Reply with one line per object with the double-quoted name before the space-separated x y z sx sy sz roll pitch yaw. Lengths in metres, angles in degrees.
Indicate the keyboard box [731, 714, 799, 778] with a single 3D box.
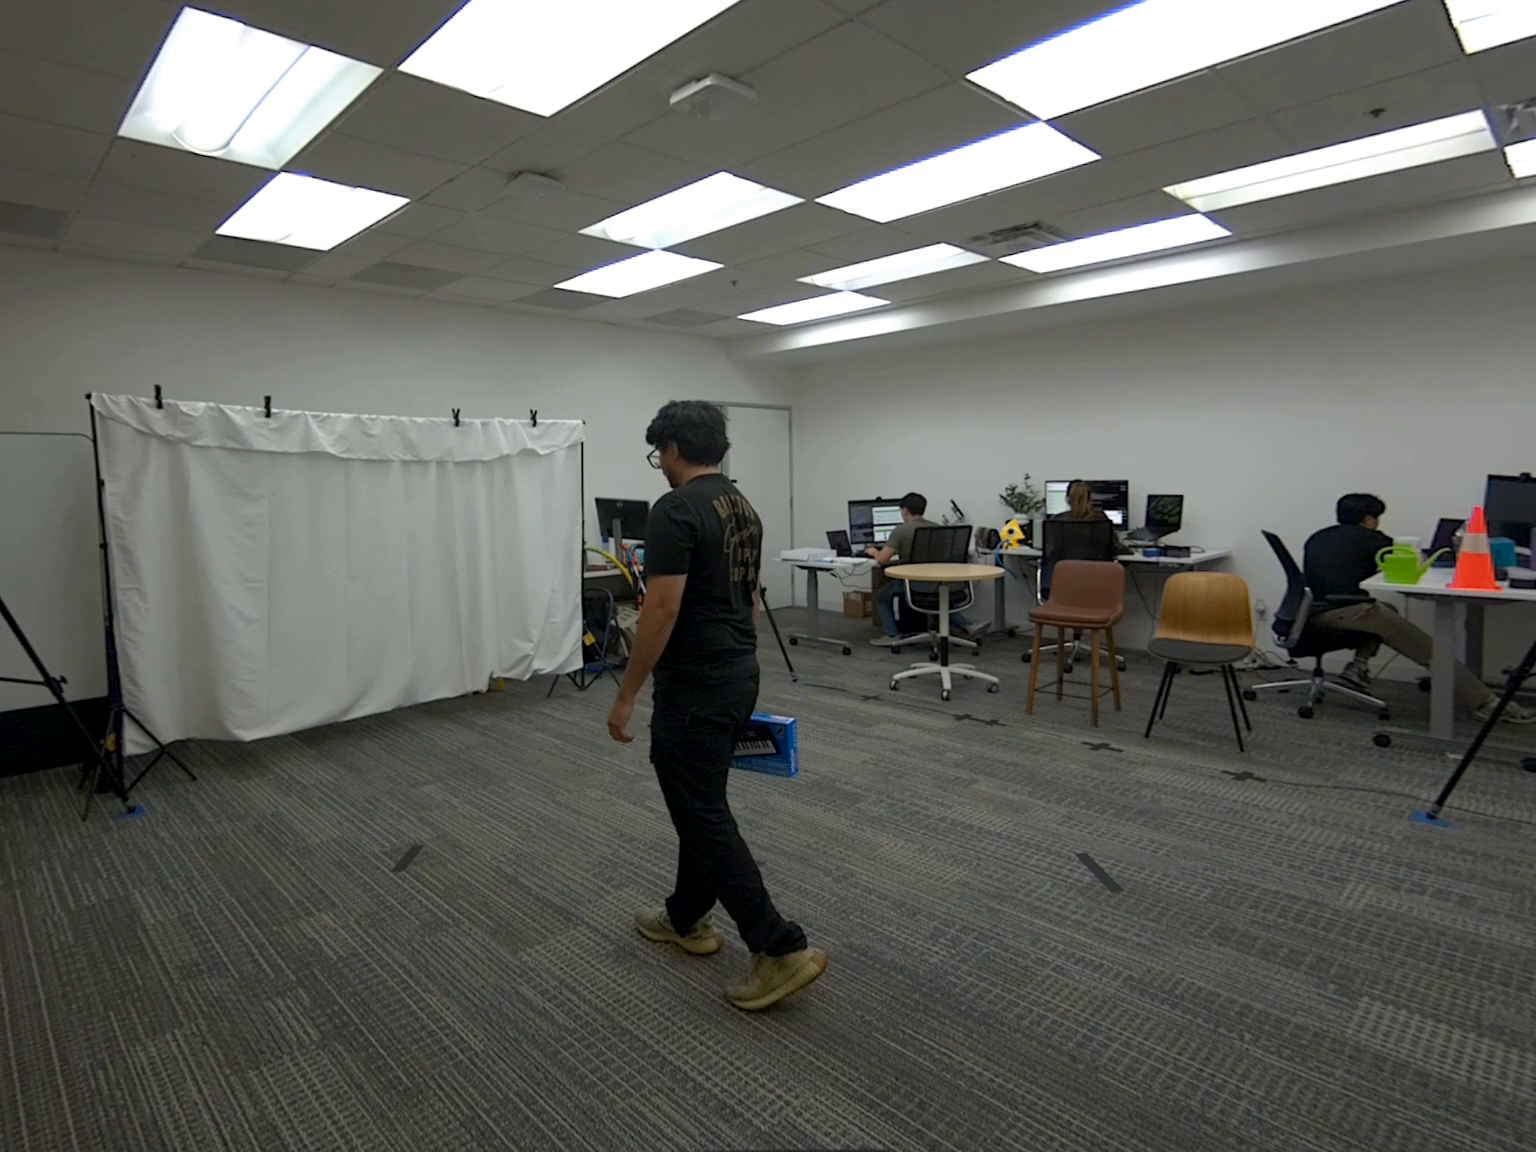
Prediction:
"keyboard box" -0.110 0.525 2.741 0.448 0.175 0.058 2 6 32
